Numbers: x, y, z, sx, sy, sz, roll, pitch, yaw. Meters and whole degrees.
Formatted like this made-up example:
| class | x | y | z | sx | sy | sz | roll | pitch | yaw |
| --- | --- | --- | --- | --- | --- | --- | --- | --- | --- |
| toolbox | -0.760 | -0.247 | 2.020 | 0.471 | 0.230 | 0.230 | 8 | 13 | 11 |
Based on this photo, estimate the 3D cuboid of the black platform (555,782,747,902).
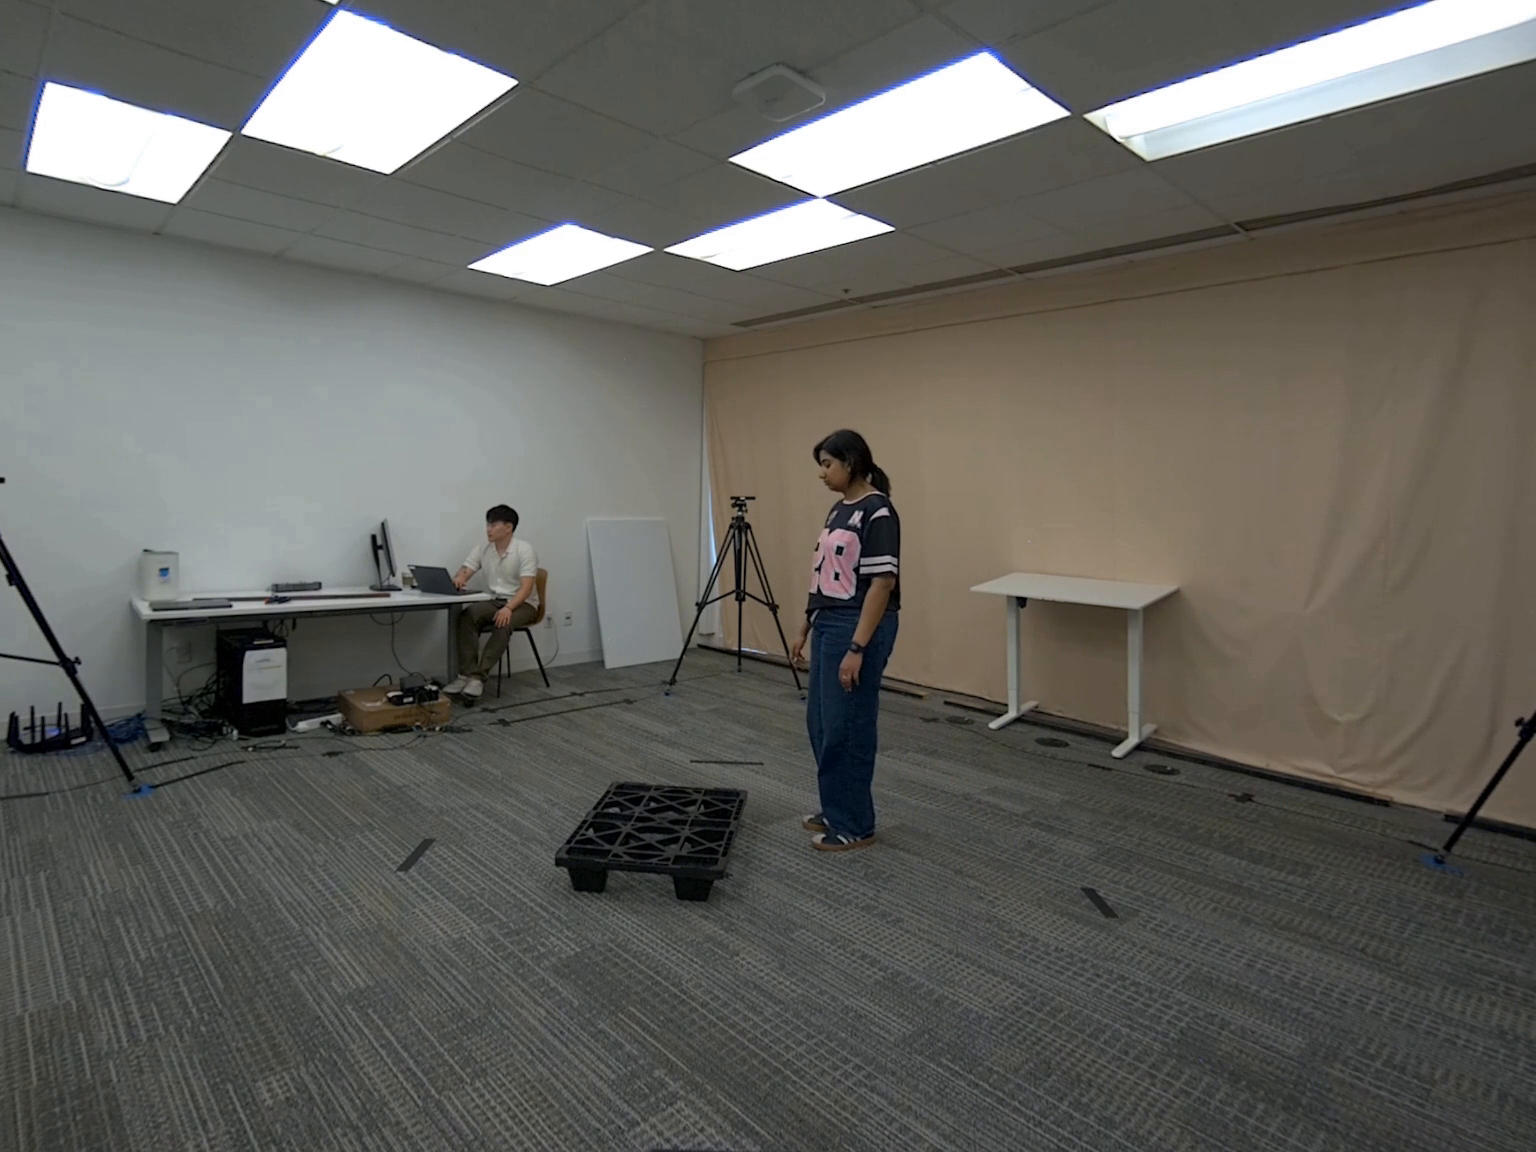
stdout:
| class | x | y | z | sx | sy | sz | roll | pitch | yaw |
| --- | --- | --- | --- | --- | --- | --- | --- | --- | --- |
| black platform | -0.421 | 1.014 | 3.278 | 0.608 | 0.143 | 0.804 | 2 | 5 | 5 |
